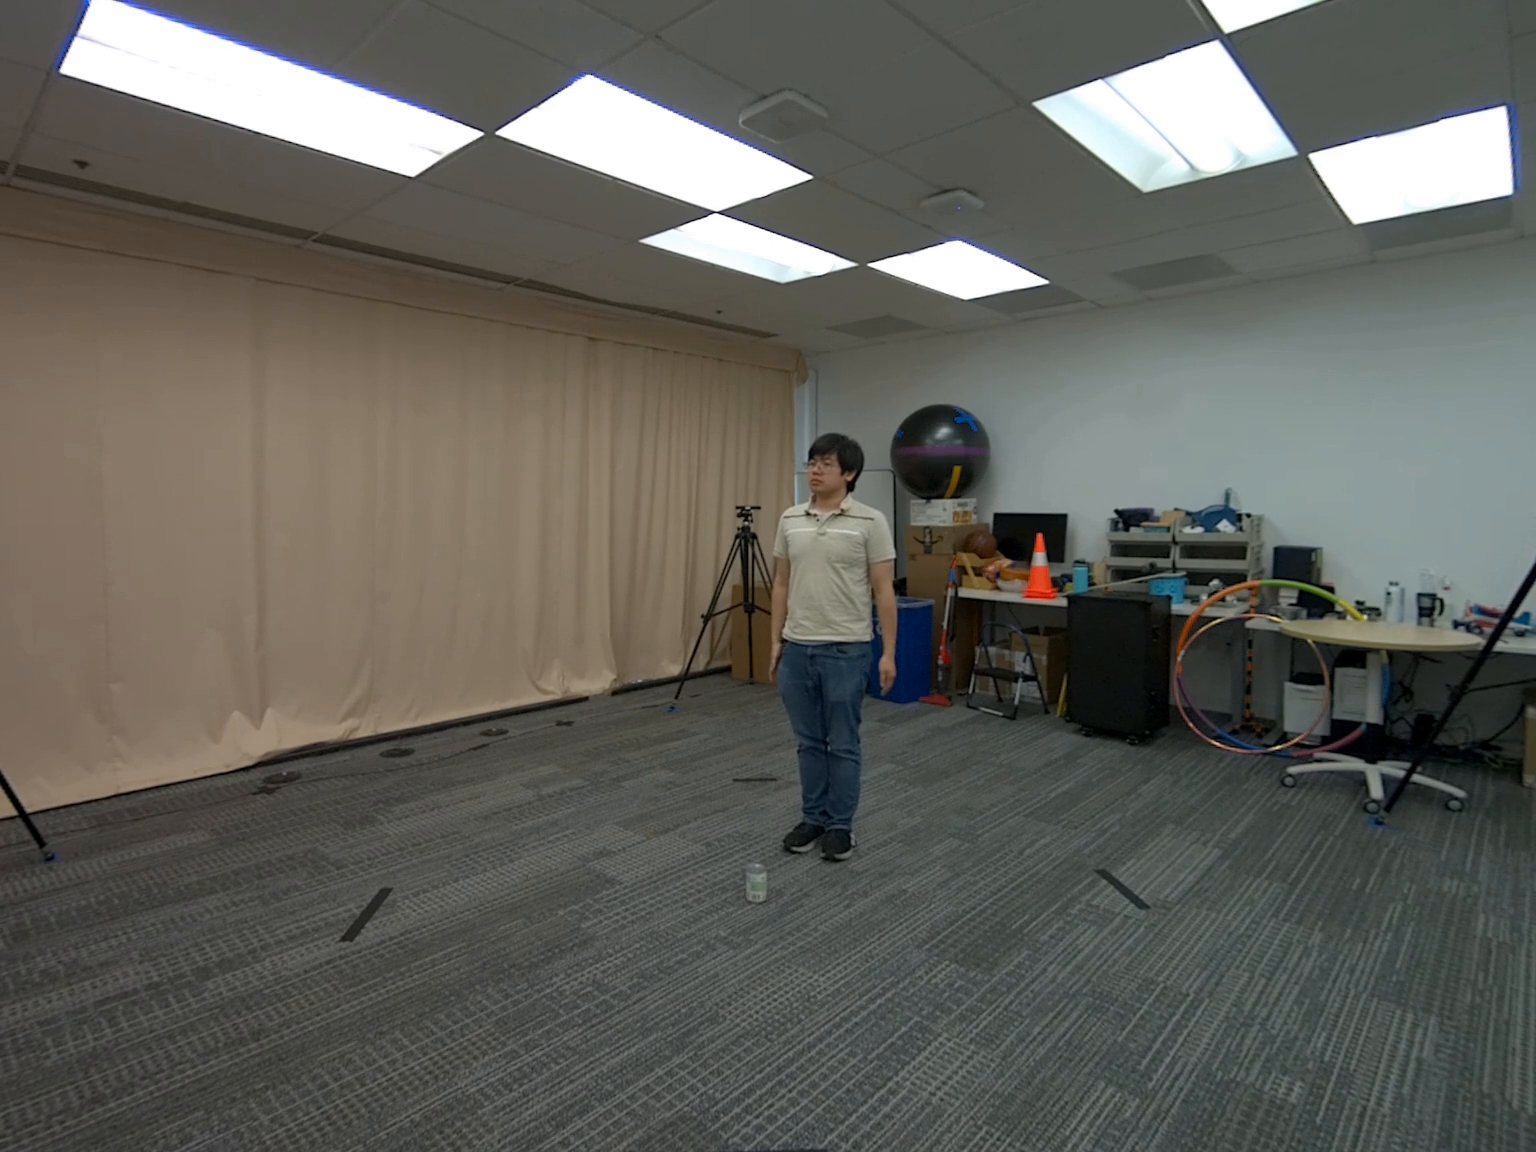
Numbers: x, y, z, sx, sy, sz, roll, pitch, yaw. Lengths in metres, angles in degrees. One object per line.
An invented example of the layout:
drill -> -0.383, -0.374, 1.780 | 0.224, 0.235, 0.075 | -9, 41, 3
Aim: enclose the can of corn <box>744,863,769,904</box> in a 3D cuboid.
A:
can of corn -> -0.040, 1.091, 2.972 | 0.074, 0.110, 0.074 | 0, 7, -2
